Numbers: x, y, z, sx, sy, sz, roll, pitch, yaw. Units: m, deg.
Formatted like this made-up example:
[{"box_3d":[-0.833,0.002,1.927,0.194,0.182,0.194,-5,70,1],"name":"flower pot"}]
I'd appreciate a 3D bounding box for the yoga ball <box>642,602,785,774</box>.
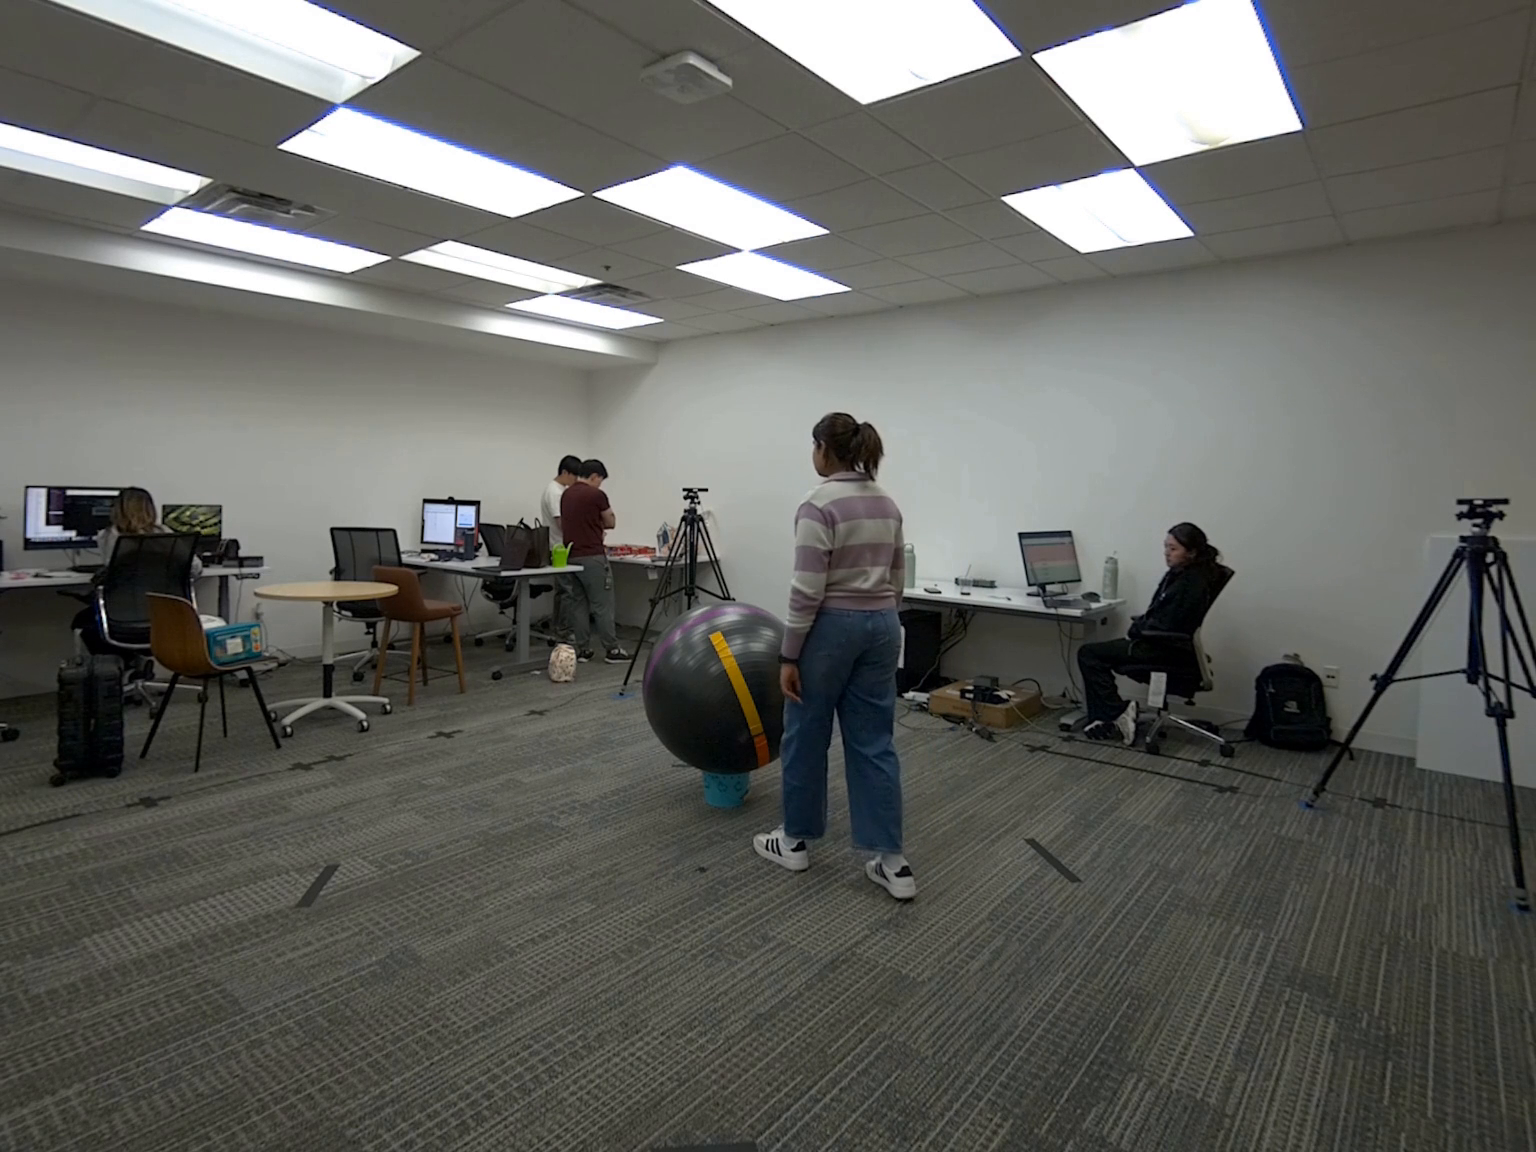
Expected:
[{"box_3d":[-0.198,0.497,3.803,0.757,0.756,0.761,1,4,-2],"name":"yoga ball"}]
